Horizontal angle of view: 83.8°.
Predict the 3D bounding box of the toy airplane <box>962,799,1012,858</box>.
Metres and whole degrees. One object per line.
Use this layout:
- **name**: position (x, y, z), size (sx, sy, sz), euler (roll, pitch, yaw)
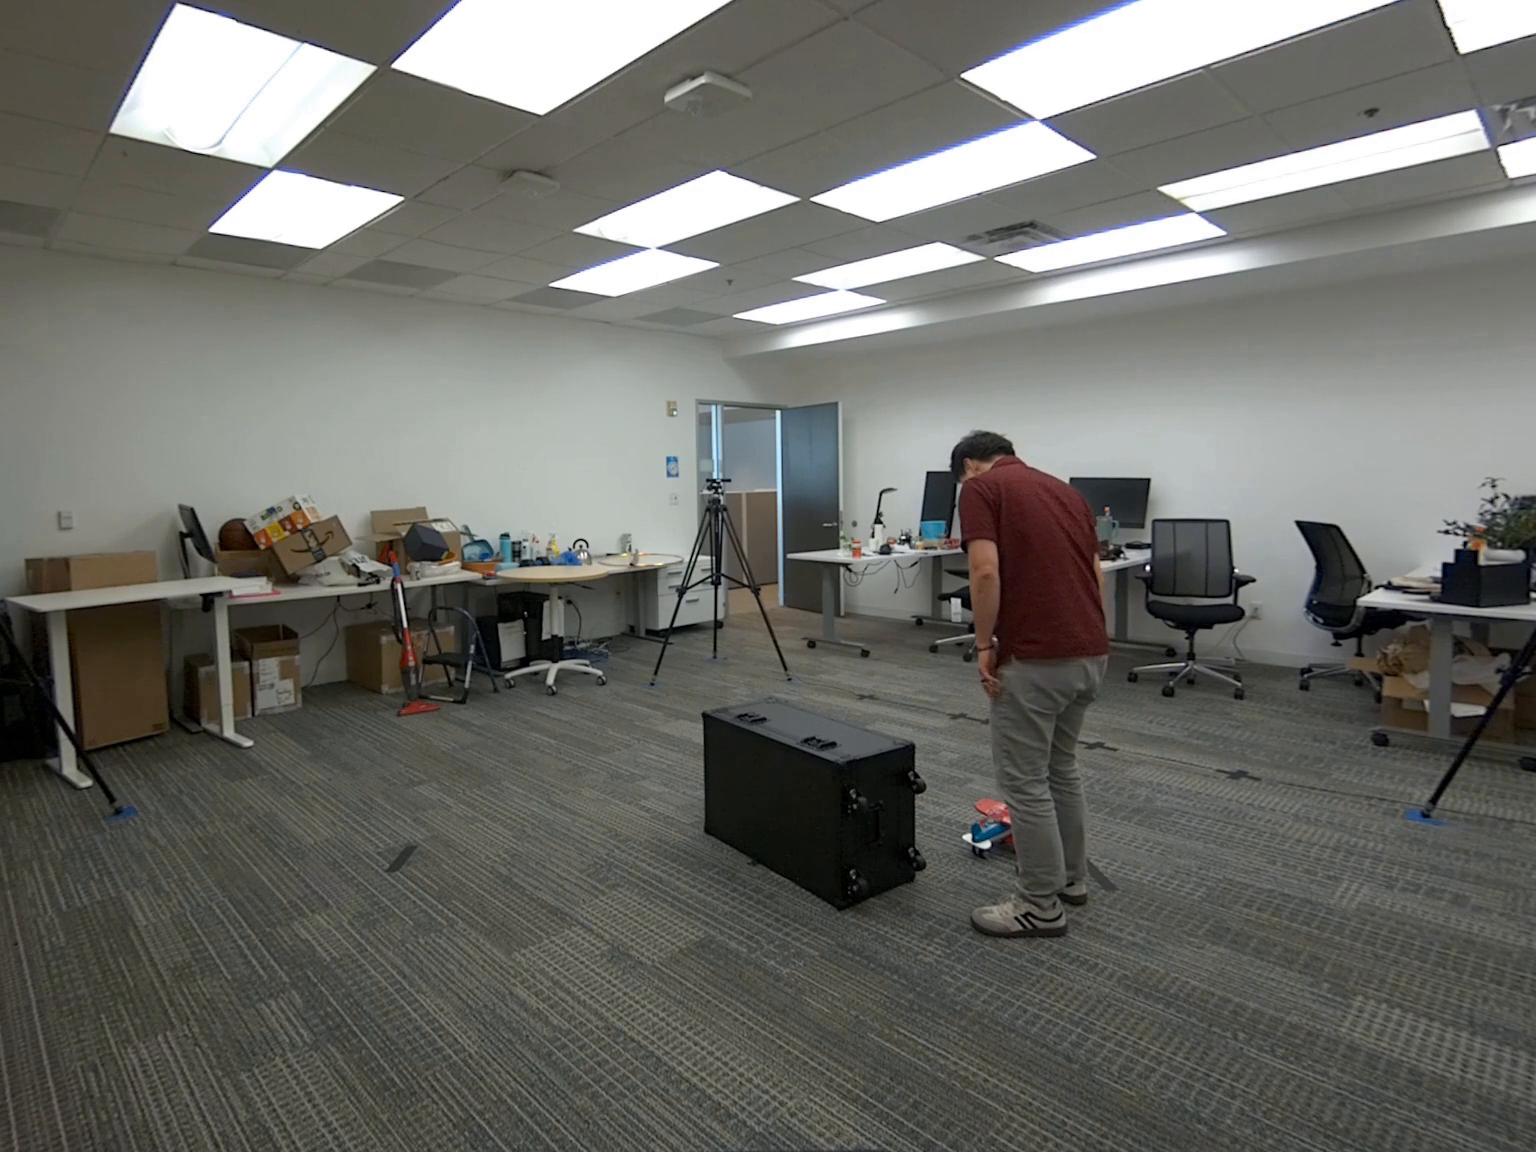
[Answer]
- **toy airplane**: position (0.861, 0.943, 3.153), size (0.258, 0.156, 0.253), euler (3, 5, 32)
